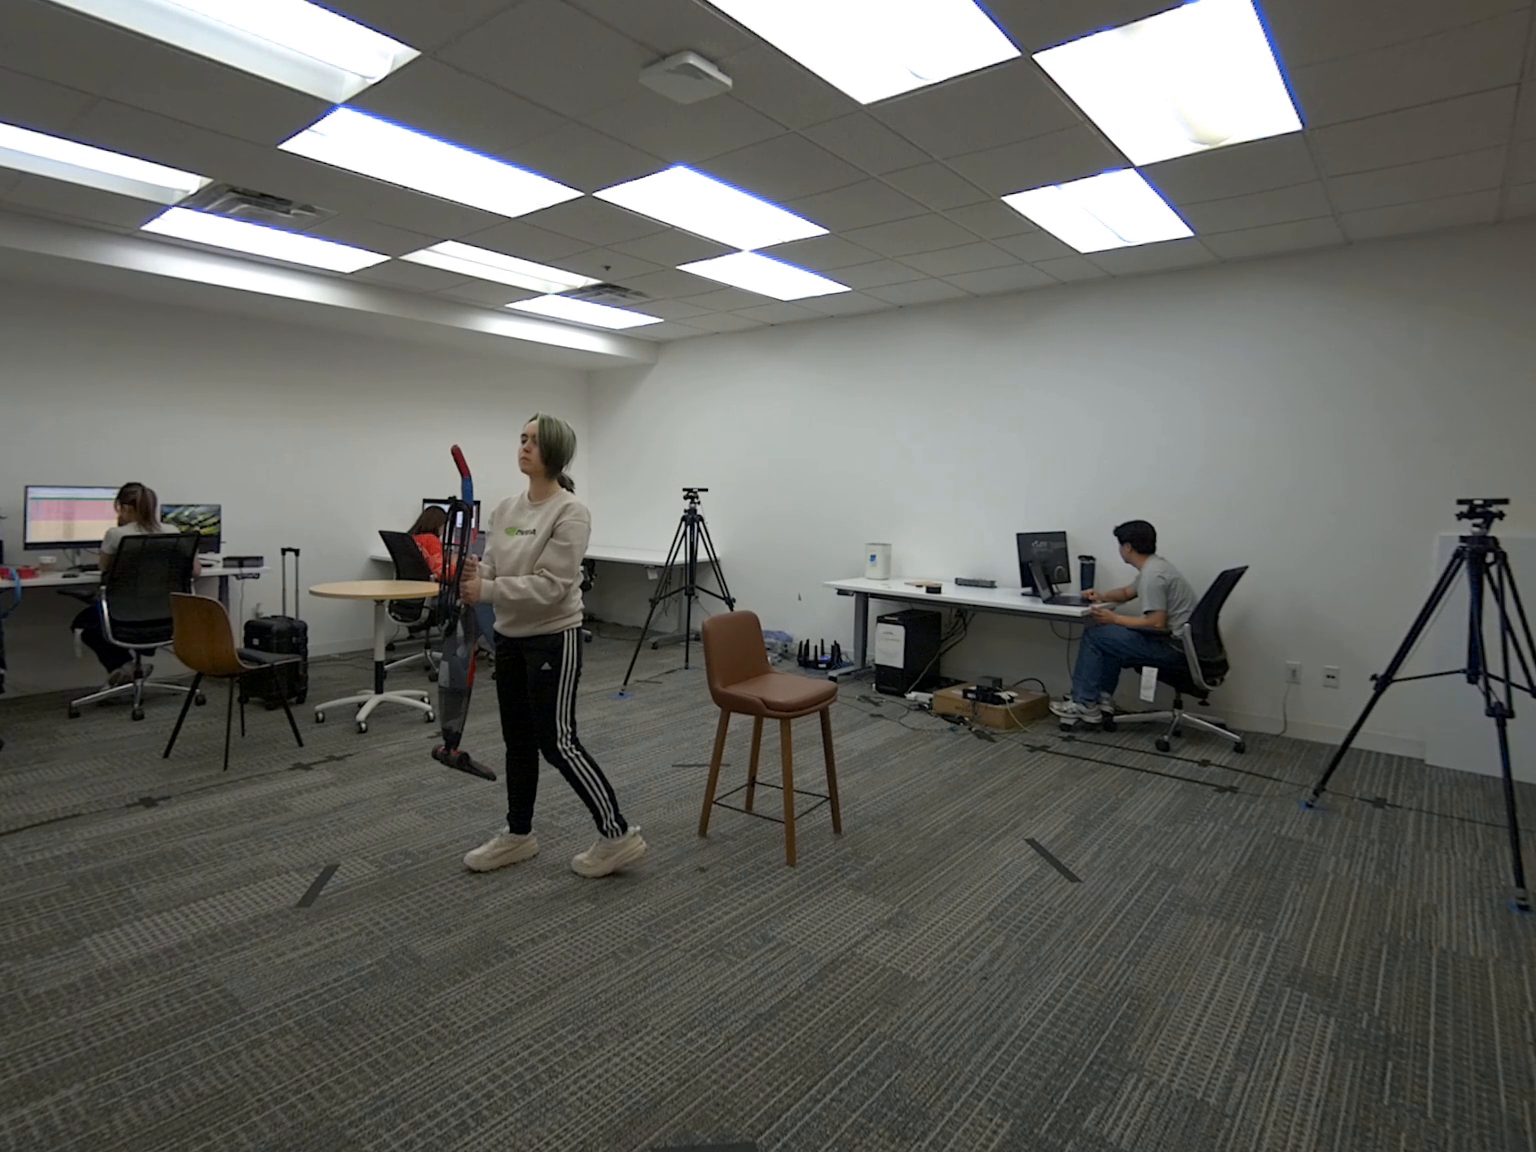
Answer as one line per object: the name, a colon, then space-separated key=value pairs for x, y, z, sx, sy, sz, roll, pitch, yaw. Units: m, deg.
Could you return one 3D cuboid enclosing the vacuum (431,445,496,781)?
vacuum: x=-1.035 y=0.107 z=2.798 sx=0.261 sy=1.044 sz=0.140 roll=4 pitch=6 yaw=39
